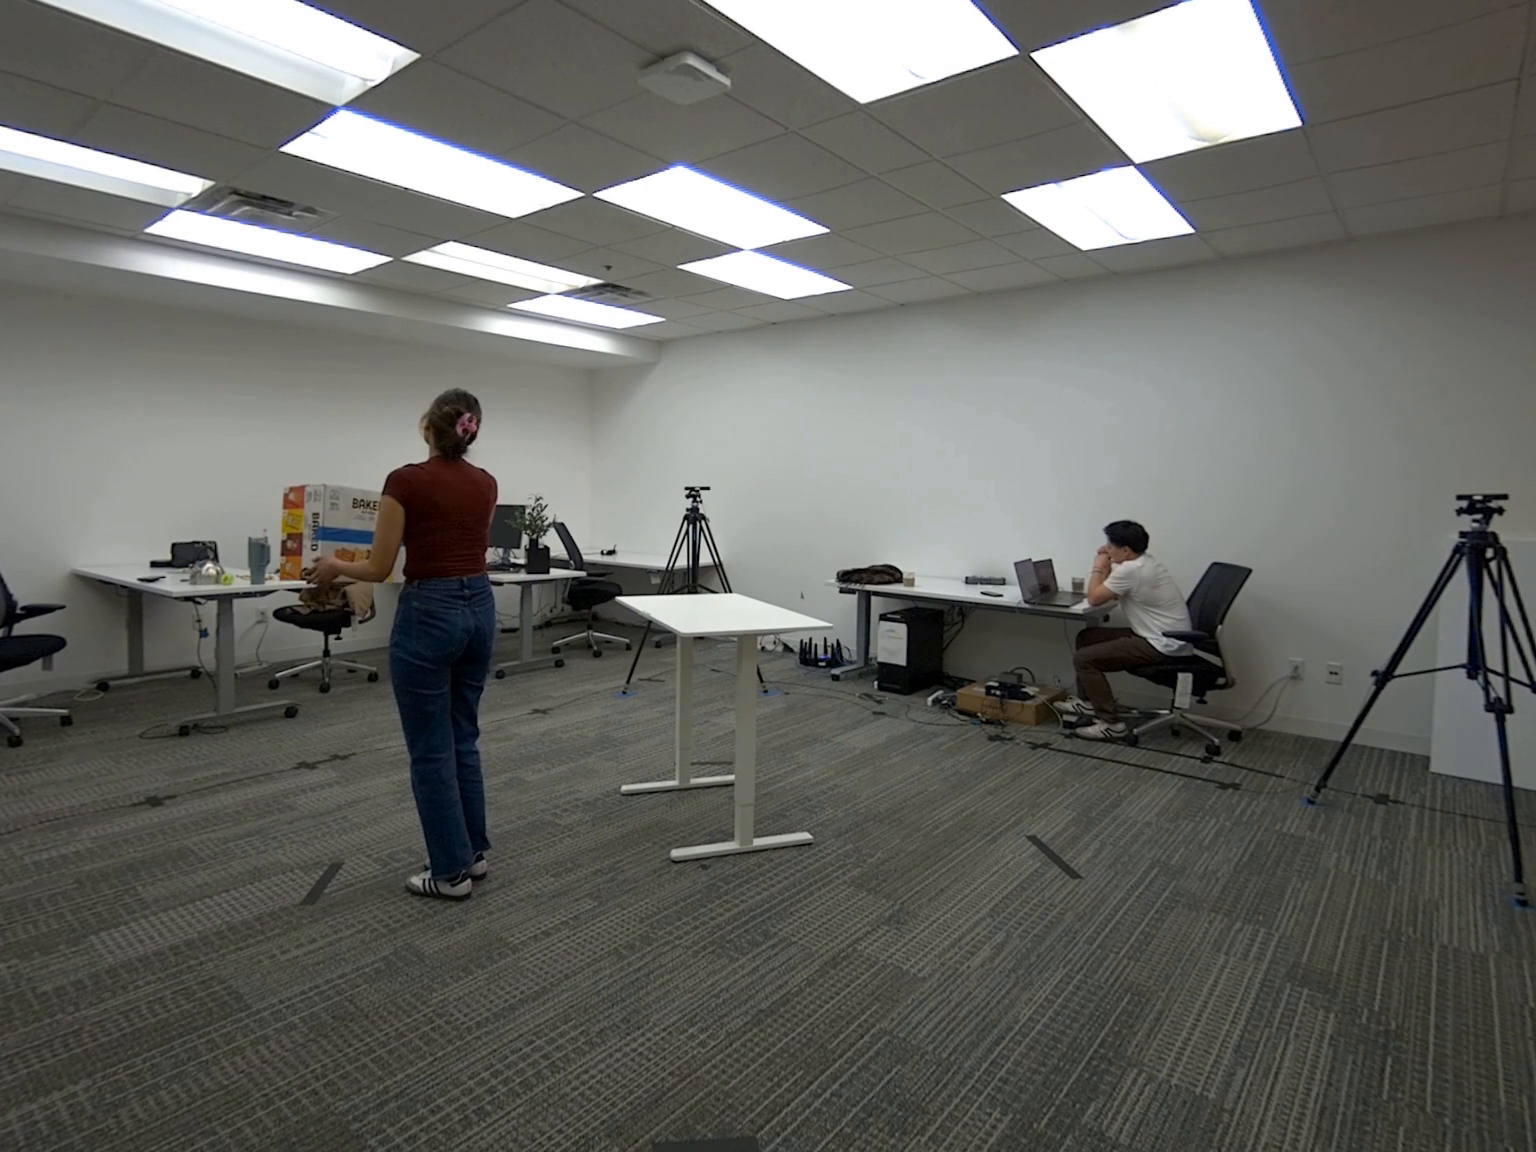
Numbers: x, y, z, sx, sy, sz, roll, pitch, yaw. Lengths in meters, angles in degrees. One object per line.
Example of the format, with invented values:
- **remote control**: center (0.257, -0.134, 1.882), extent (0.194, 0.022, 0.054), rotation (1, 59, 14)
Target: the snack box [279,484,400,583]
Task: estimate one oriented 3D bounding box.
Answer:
- **snack box**: center (-1.582, -0.140, 3.172), extent (0.210, 0.341, 0.395), rotation (0, -2, 22)
